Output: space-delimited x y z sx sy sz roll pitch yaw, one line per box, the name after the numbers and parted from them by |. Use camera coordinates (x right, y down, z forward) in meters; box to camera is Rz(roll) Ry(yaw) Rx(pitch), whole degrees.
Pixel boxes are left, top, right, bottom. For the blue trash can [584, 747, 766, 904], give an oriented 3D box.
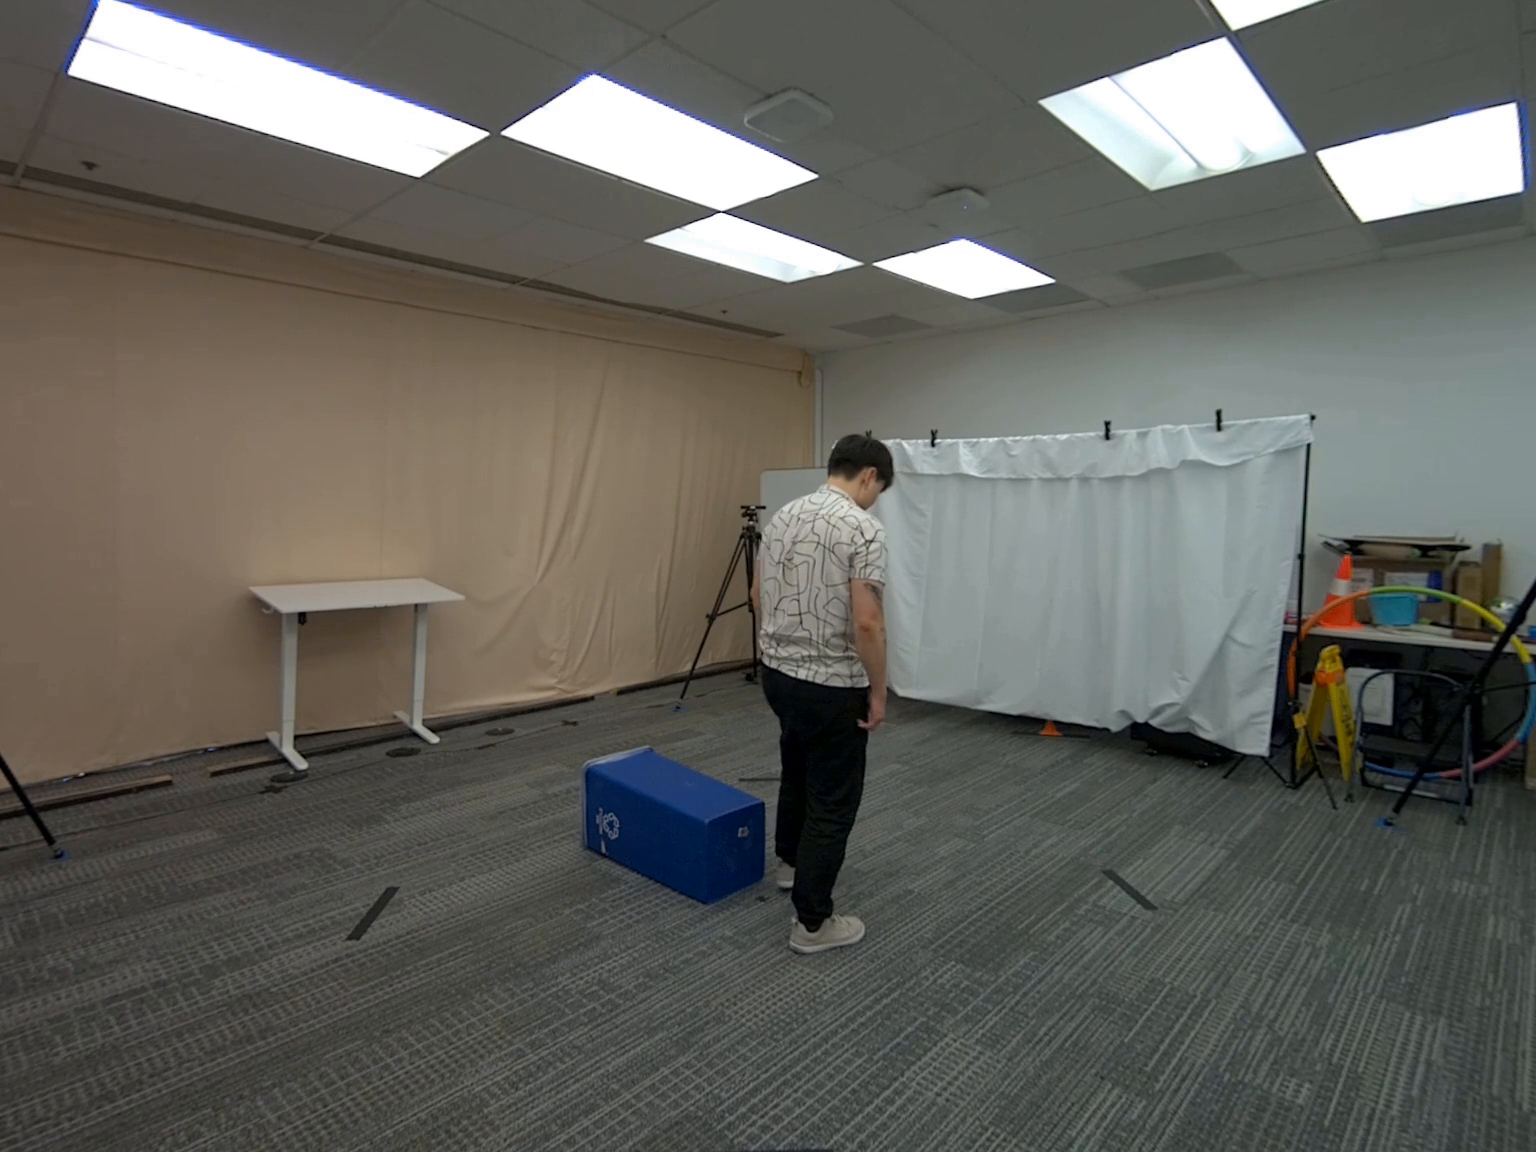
-0.369 0.949 3.271 0.362 0.377 0.738 -3 7 -44 | blue trash can
